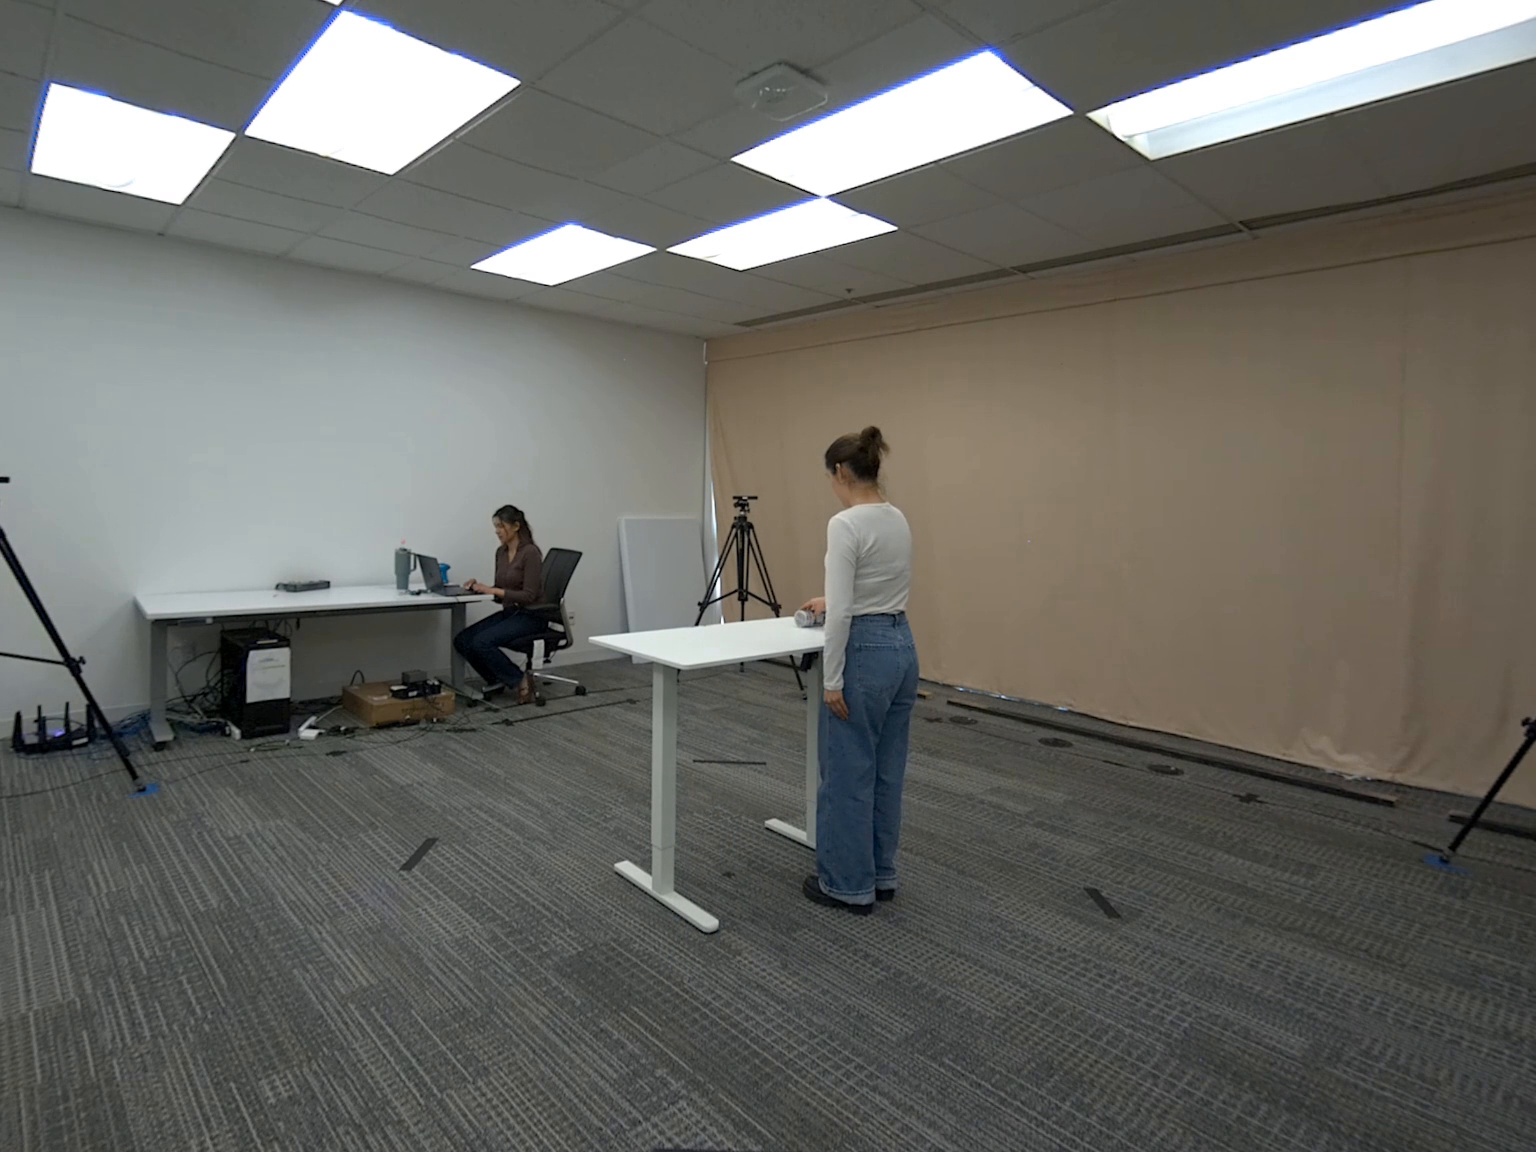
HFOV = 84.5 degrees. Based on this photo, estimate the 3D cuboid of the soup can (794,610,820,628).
[{"bbox_3d":[0.135,0.166,3.356,0.067,0.067,0.121,2,2,5],"label":"soup can"}]
